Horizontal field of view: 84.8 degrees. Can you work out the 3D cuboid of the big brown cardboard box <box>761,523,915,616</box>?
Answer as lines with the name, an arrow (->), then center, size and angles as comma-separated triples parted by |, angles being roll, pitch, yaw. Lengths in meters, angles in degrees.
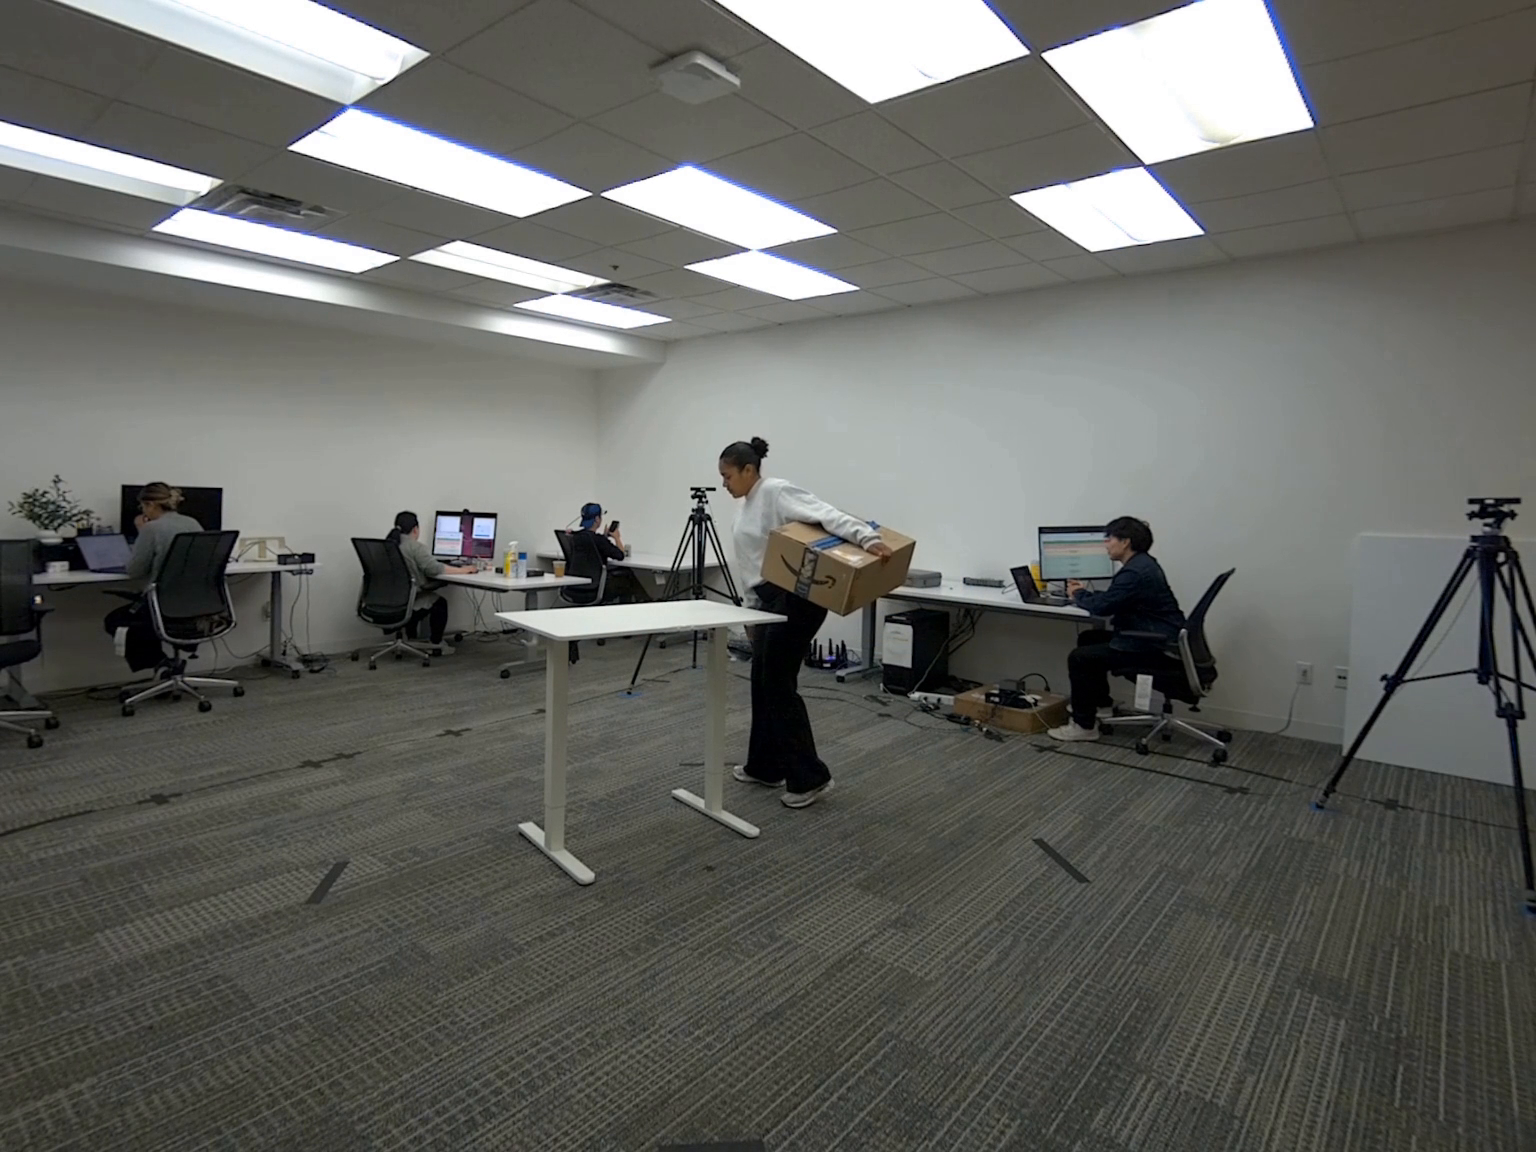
big brown cardboard box -> 0.298, -0.078, 3.620 | 0.432, 0.230, 0.577 | 24, 24, 28
